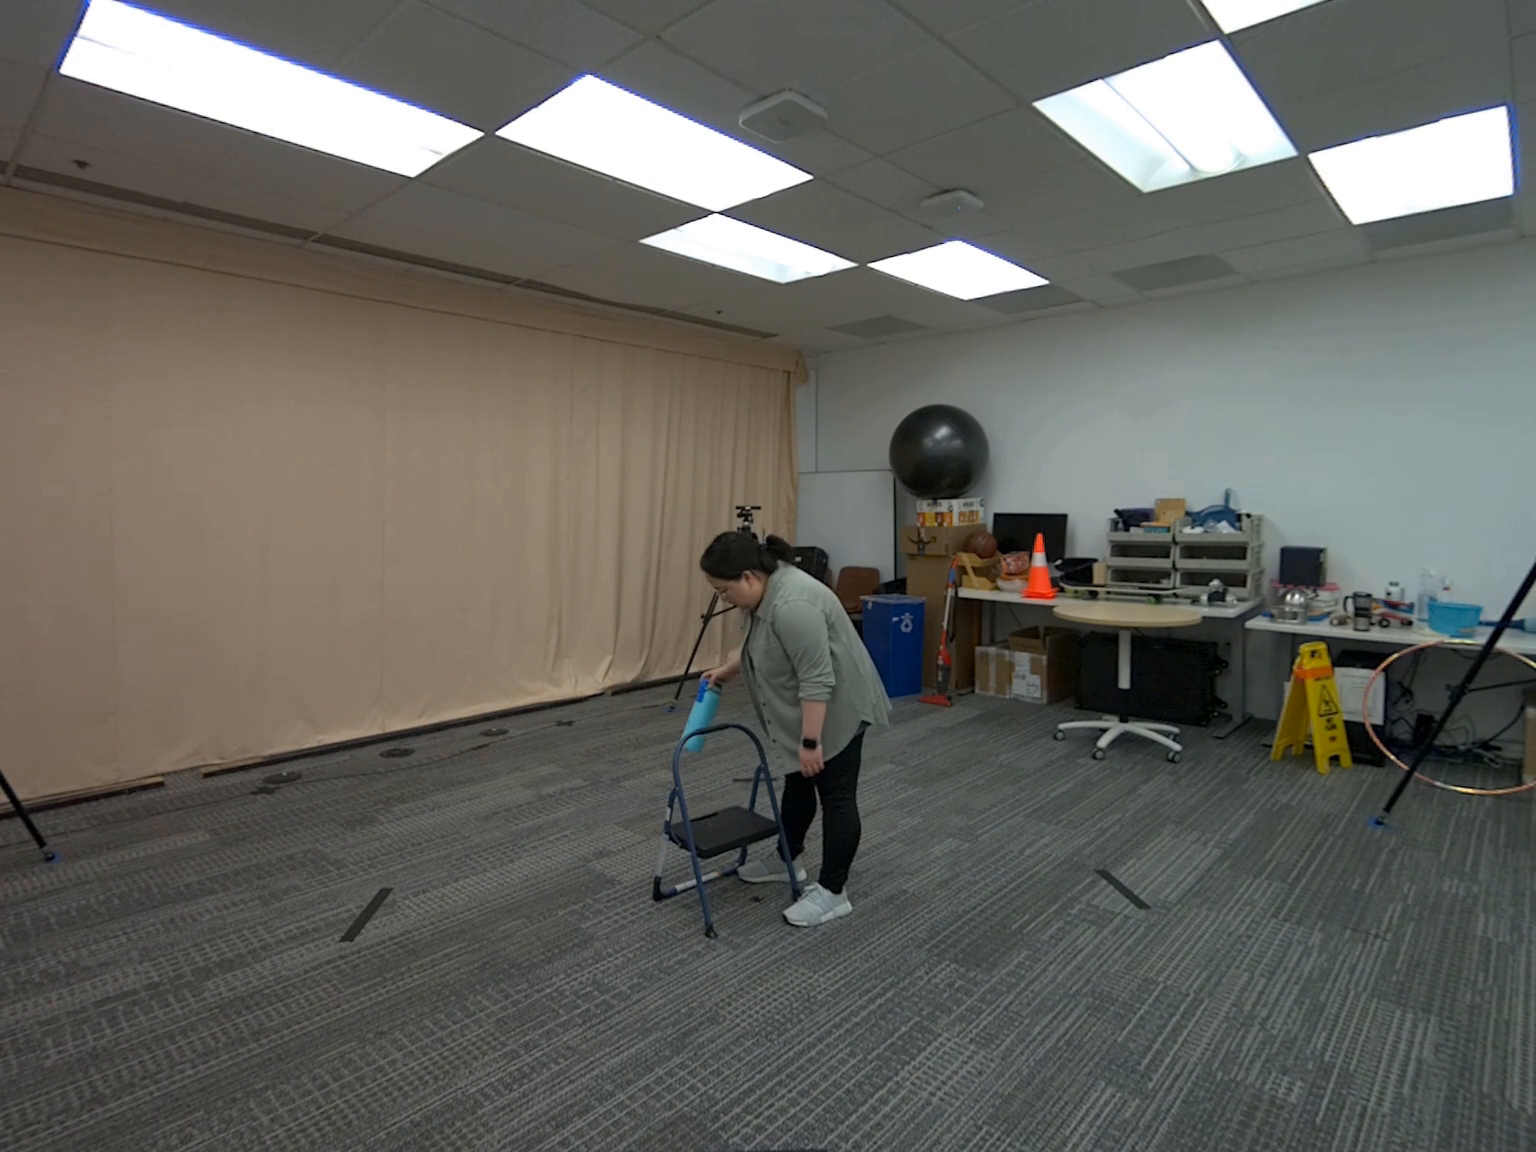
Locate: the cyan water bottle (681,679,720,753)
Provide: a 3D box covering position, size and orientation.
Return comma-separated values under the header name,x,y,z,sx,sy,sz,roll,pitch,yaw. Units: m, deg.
name,x,y,z,sx,sy,sz,roll,pitch,yaw
cyan water bottle,-0.243,0.522,3.190,0.093,0.284,0.092,20,-12,2
